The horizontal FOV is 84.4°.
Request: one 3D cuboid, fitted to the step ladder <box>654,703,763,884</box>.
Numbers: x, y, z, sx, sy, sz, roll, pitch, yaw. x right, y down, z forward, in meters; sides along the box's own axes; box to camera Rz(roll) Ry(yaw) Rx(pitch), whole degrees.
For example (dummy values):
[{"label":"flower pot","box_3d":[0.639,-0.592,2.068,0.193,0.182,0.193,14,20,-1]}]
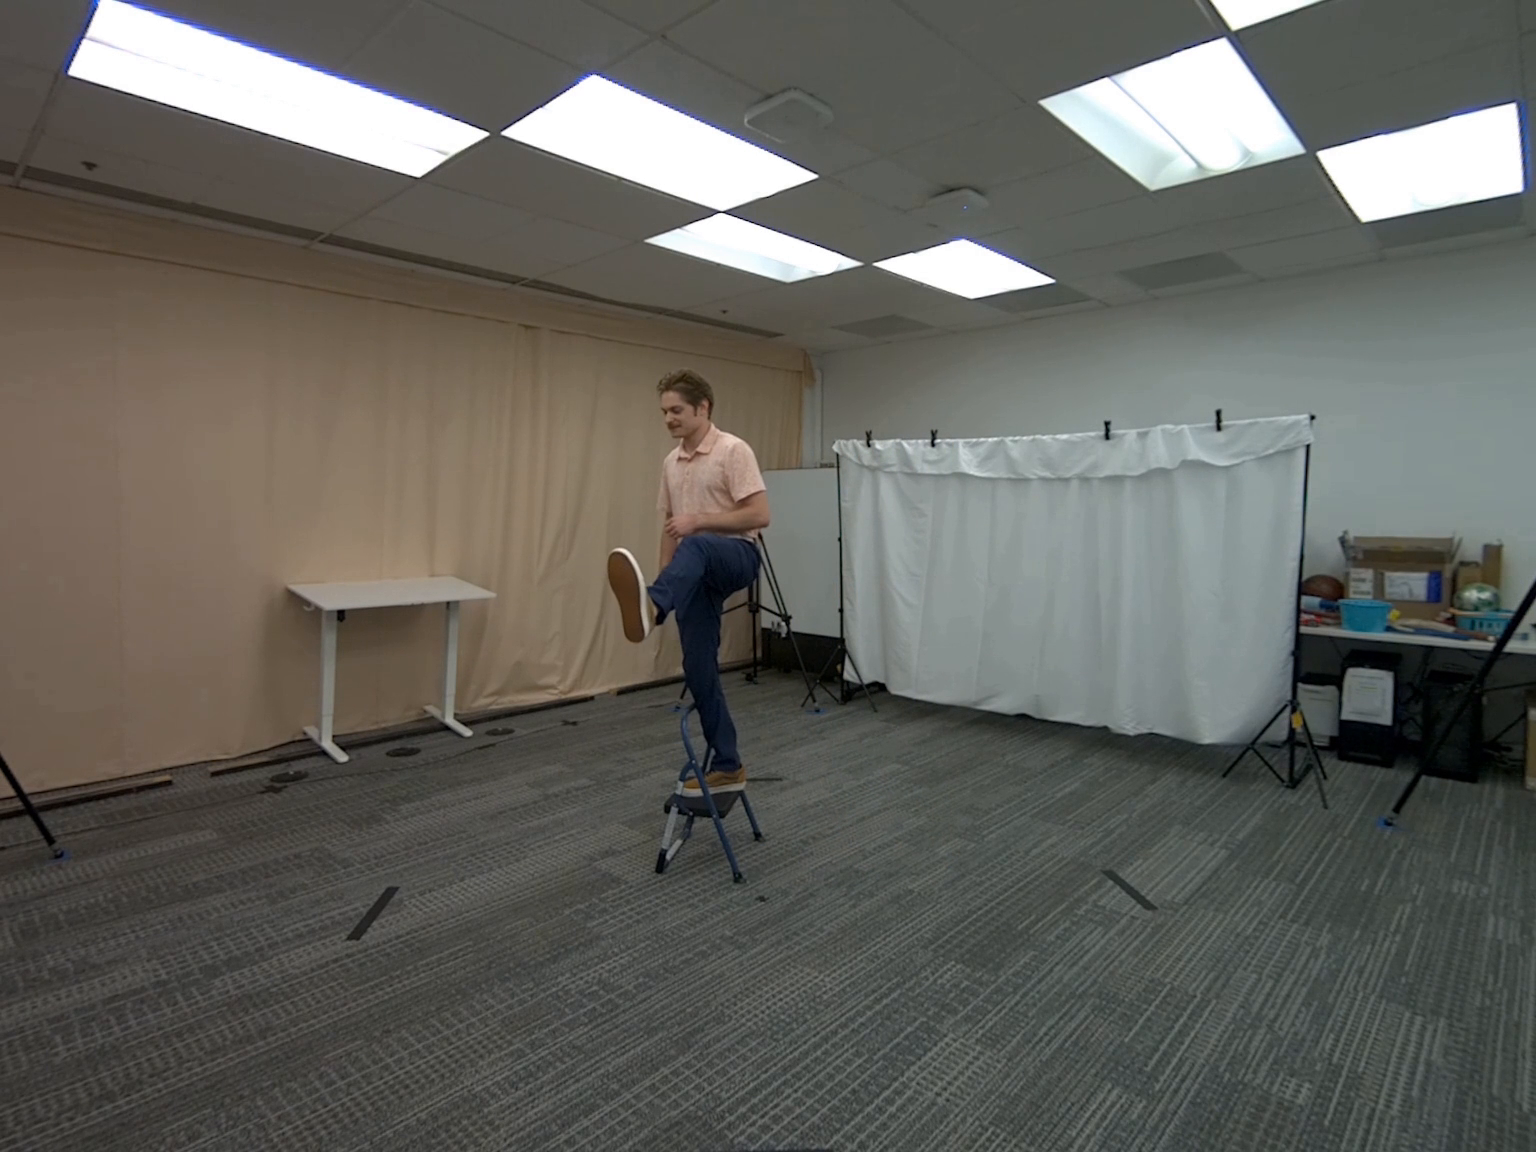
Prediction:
[{"label":"step ladder","box_3d":[-0.224,0.815,3.338,0.354,0.605,0.426,0,3,11]}]
